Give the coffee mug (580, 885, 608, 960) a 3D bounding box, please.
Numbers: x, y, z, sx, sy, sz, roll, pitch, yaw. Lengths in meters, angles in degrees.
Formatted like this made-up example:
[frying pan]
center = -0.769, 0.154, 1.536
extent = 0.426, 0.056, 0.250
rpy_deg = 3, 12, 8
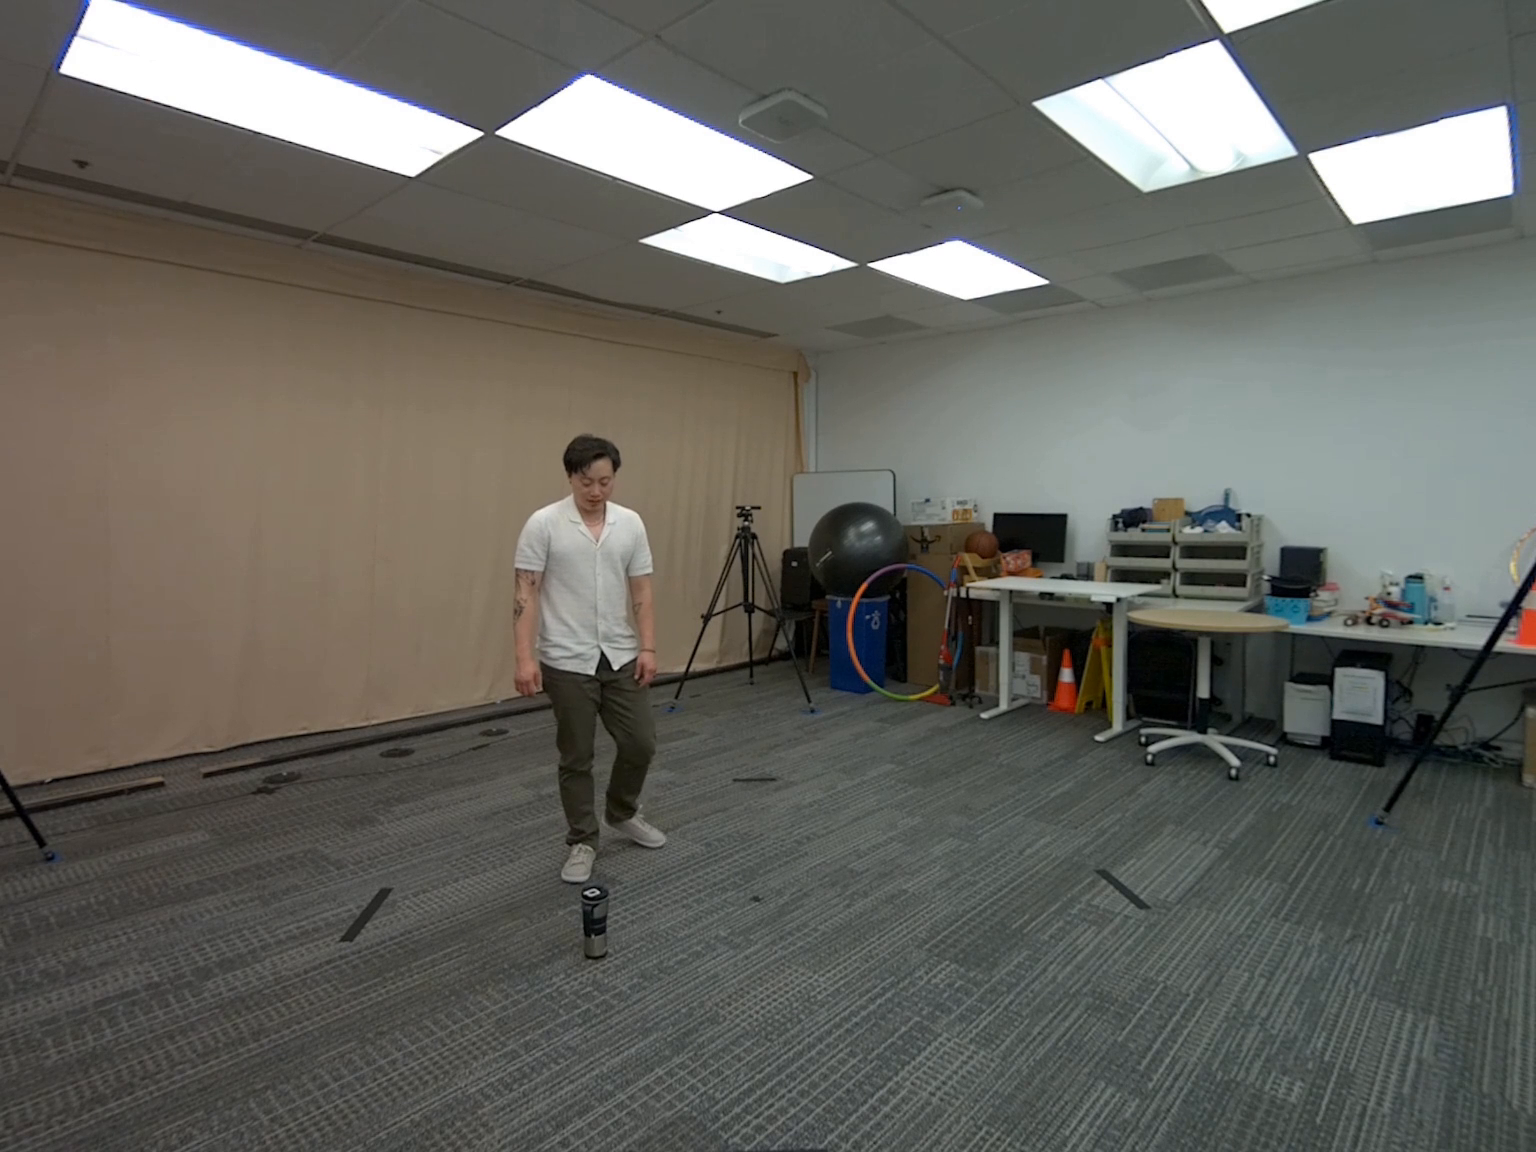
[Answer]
[coffee mug]
center = -0.549, 1.080, 2.594
extent = 0.091, 0.203, 0.118
rpy_deg = 4, 3, 35
